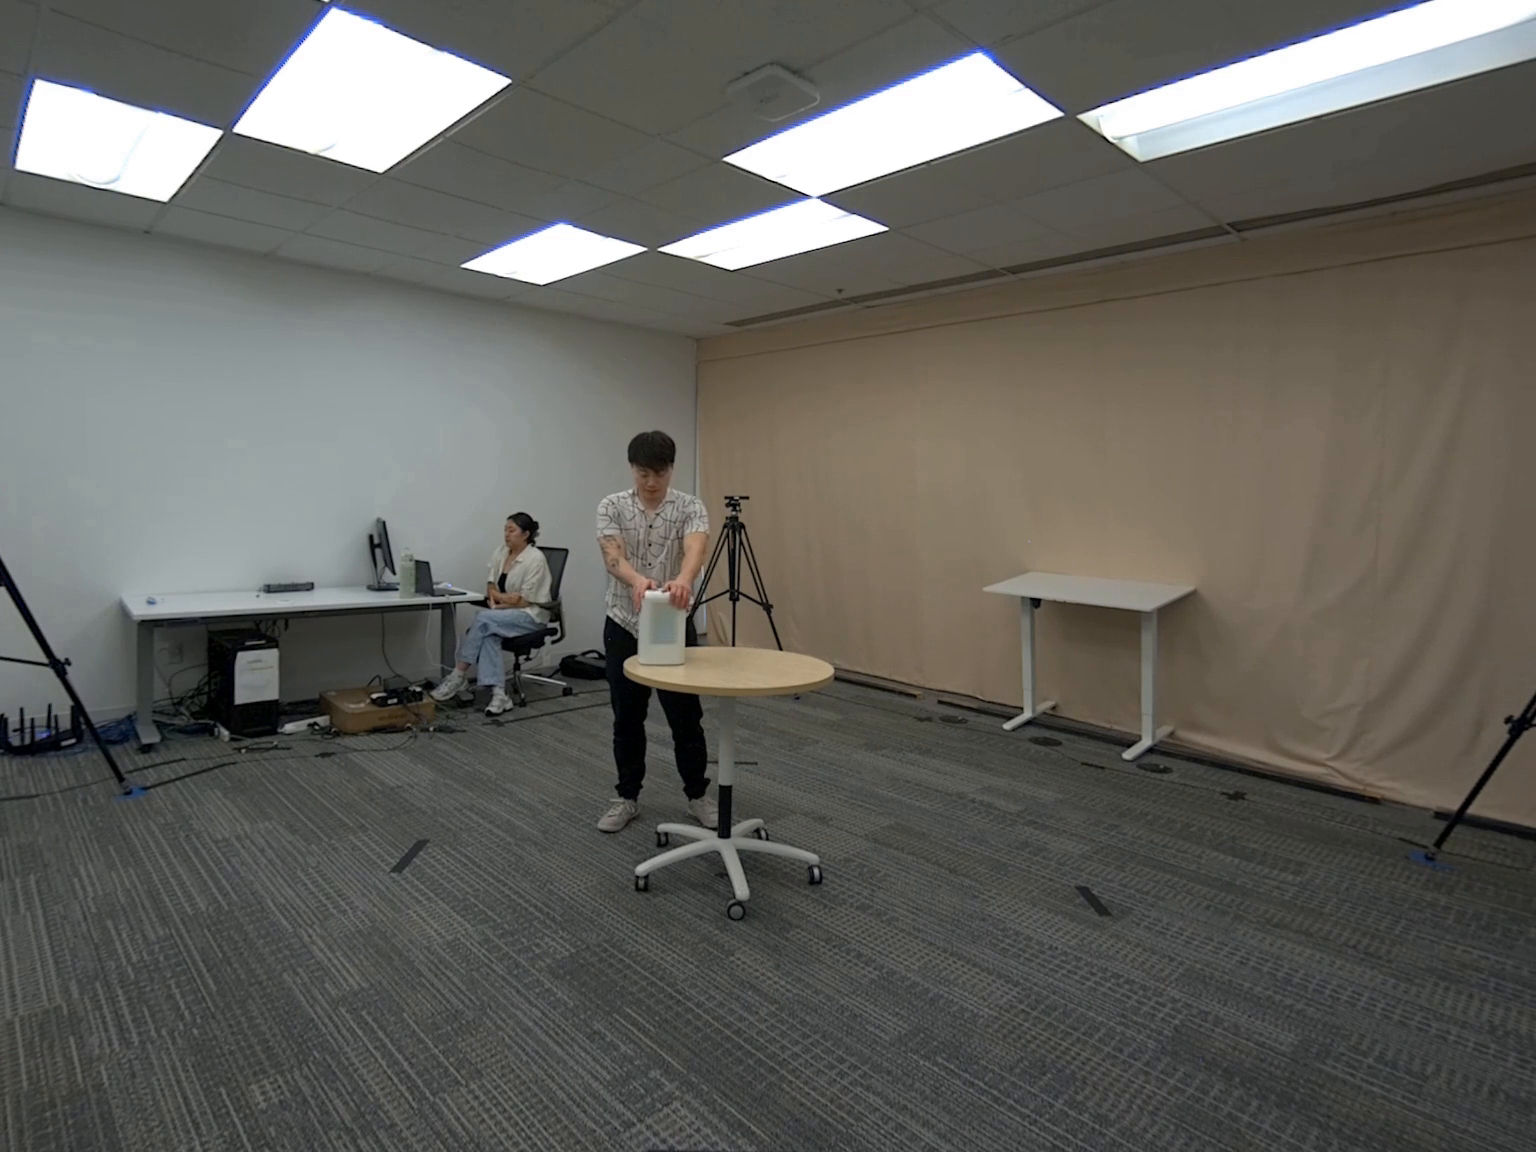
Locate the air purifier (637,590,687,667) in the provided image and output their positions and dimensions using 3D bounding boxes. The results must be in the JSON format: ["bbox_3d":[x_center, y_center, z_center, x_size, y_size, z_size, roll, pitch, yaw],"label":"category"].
[{"bbox_3d":[-0.400,0.183,3.094,0.170,0.265,0.172,2,4,-8],"label":"air purifier"}]
